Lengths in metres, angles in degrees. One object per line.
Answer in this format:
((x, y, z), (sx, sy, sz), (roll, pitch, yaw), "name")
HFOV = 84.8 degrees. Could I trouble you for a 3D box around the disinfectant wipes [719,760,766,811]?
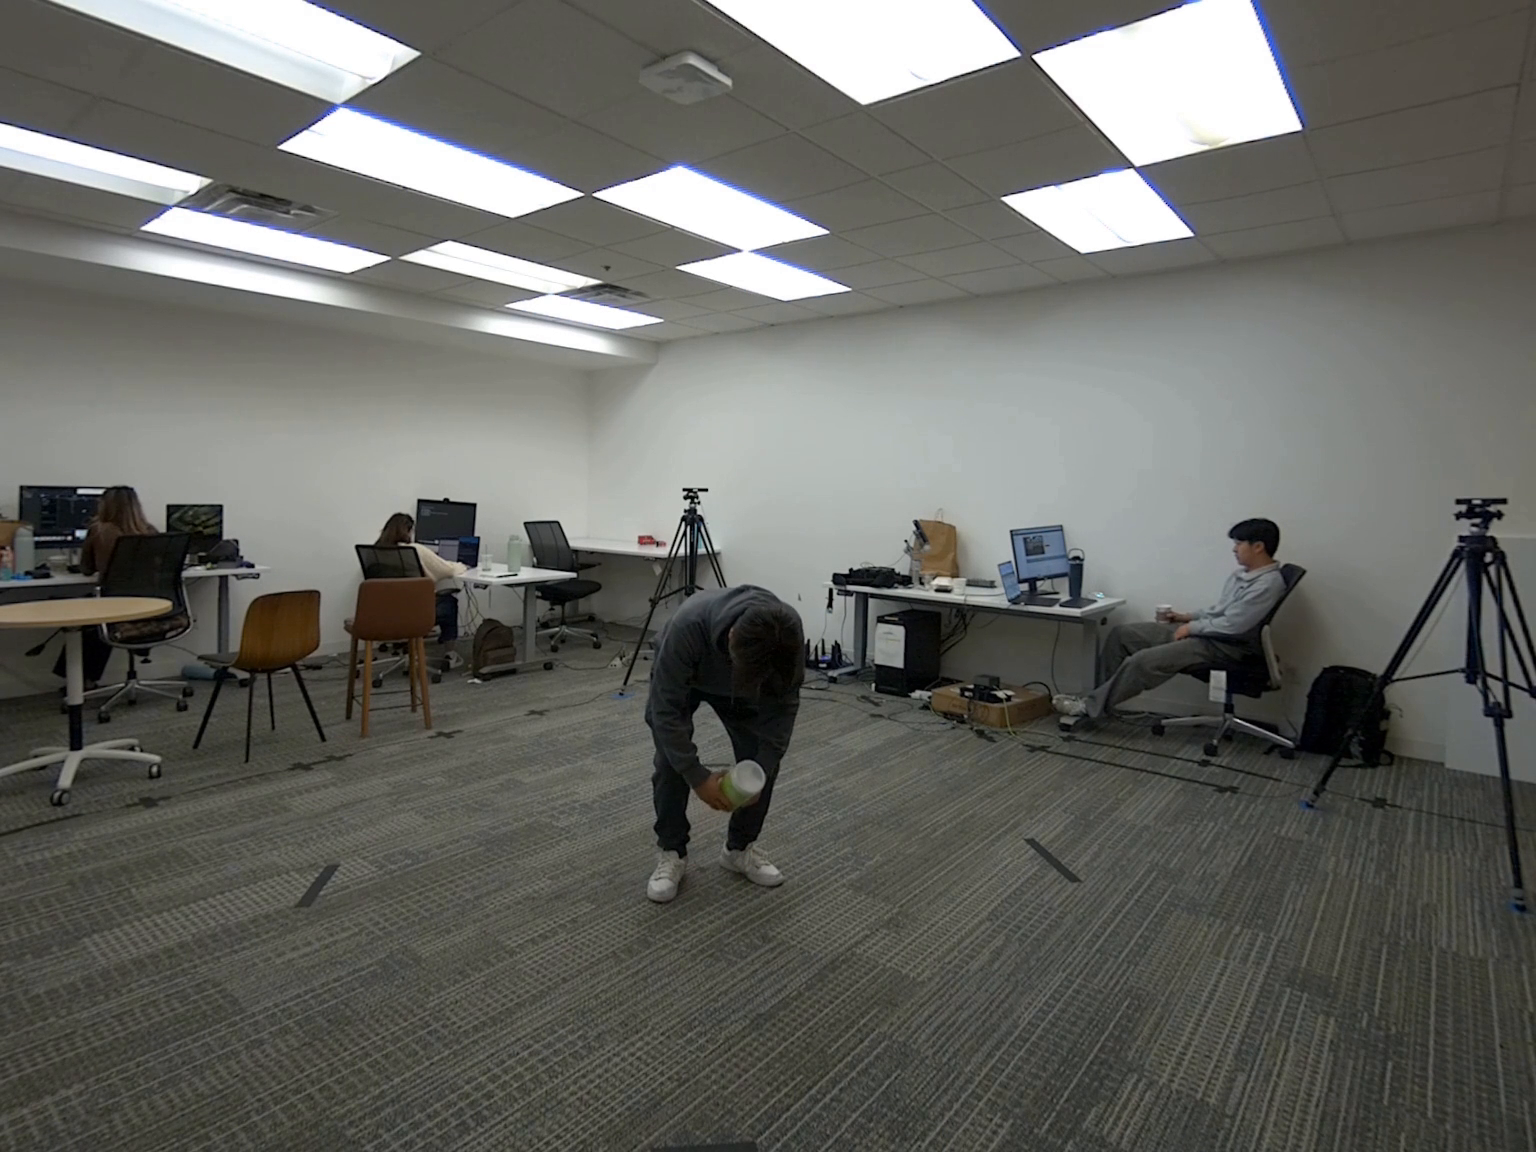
((-0.108, 0.679, 2.772), (0.115, 0.121, 0.215), (0, -31, -19), "disinfectant wipes")
